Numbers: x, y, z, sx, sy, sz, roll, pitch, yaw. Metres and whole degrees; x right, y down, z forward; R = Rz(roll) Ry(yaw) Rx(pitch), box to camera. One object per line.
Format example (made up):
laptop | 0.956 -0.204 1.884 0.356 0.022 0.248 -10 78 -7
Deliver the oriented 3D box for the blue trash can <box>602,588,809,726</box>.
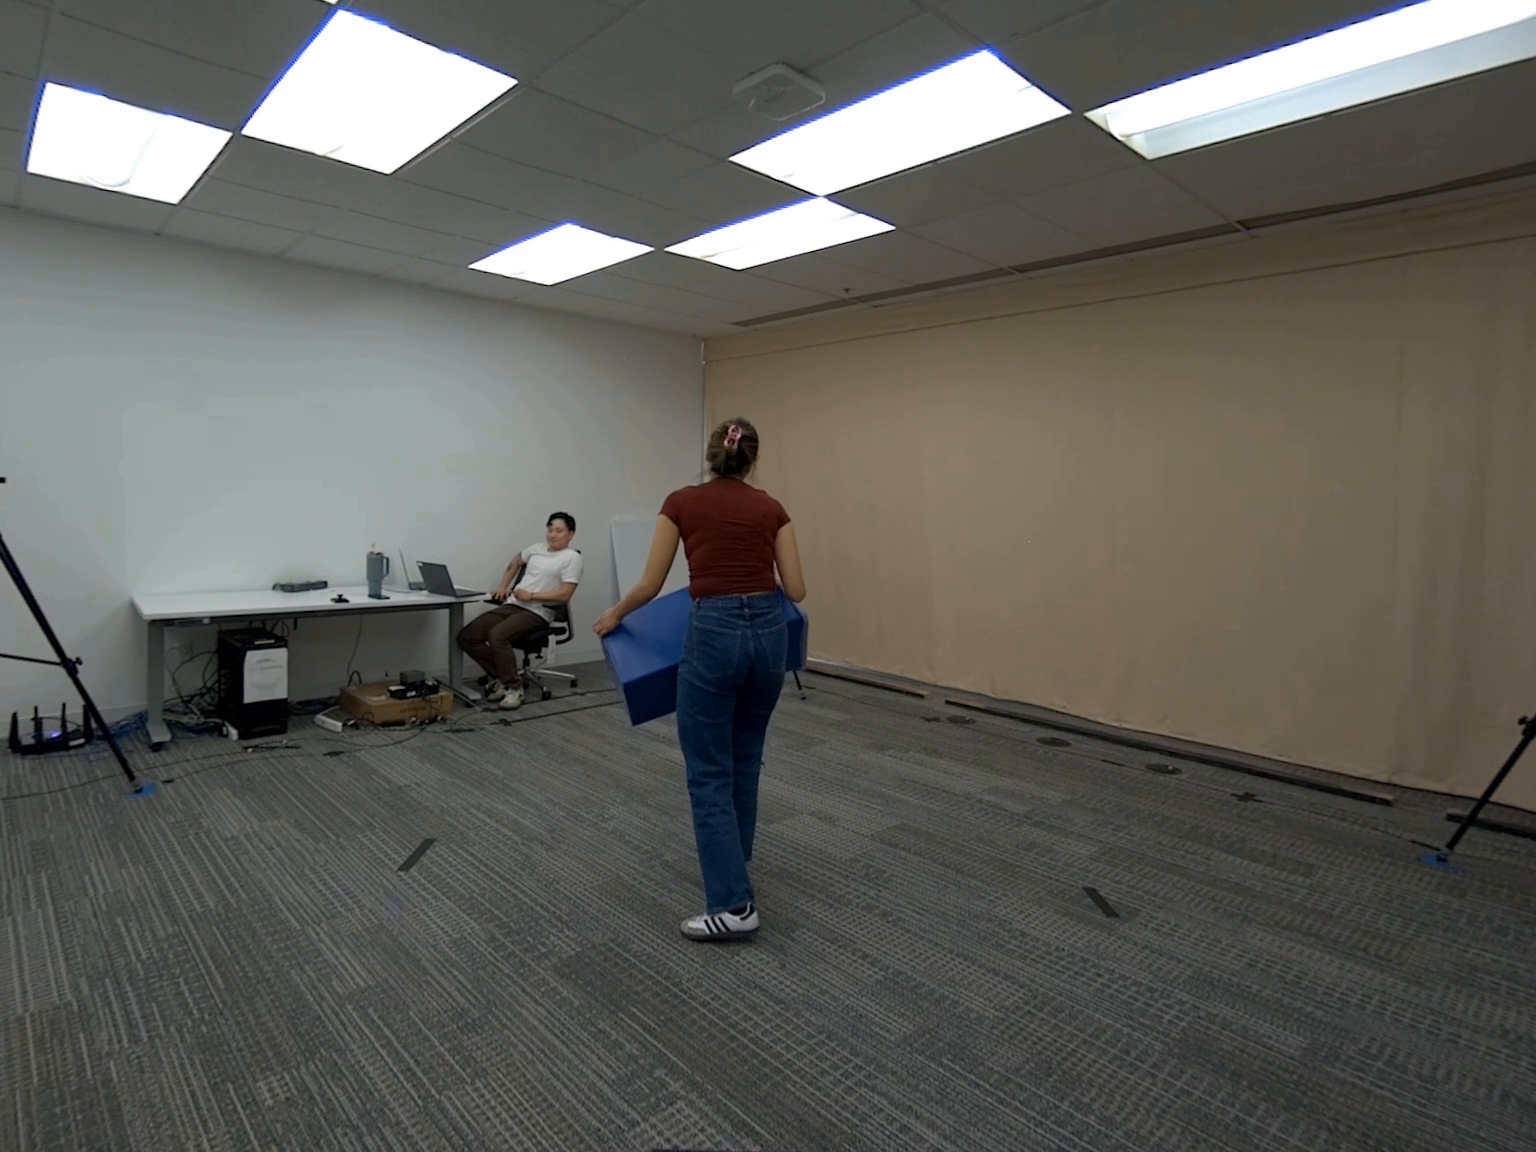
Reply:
blue trash can | -0.239 0.262 3.201 0.709 0.369 0.385 -22 53 -14
